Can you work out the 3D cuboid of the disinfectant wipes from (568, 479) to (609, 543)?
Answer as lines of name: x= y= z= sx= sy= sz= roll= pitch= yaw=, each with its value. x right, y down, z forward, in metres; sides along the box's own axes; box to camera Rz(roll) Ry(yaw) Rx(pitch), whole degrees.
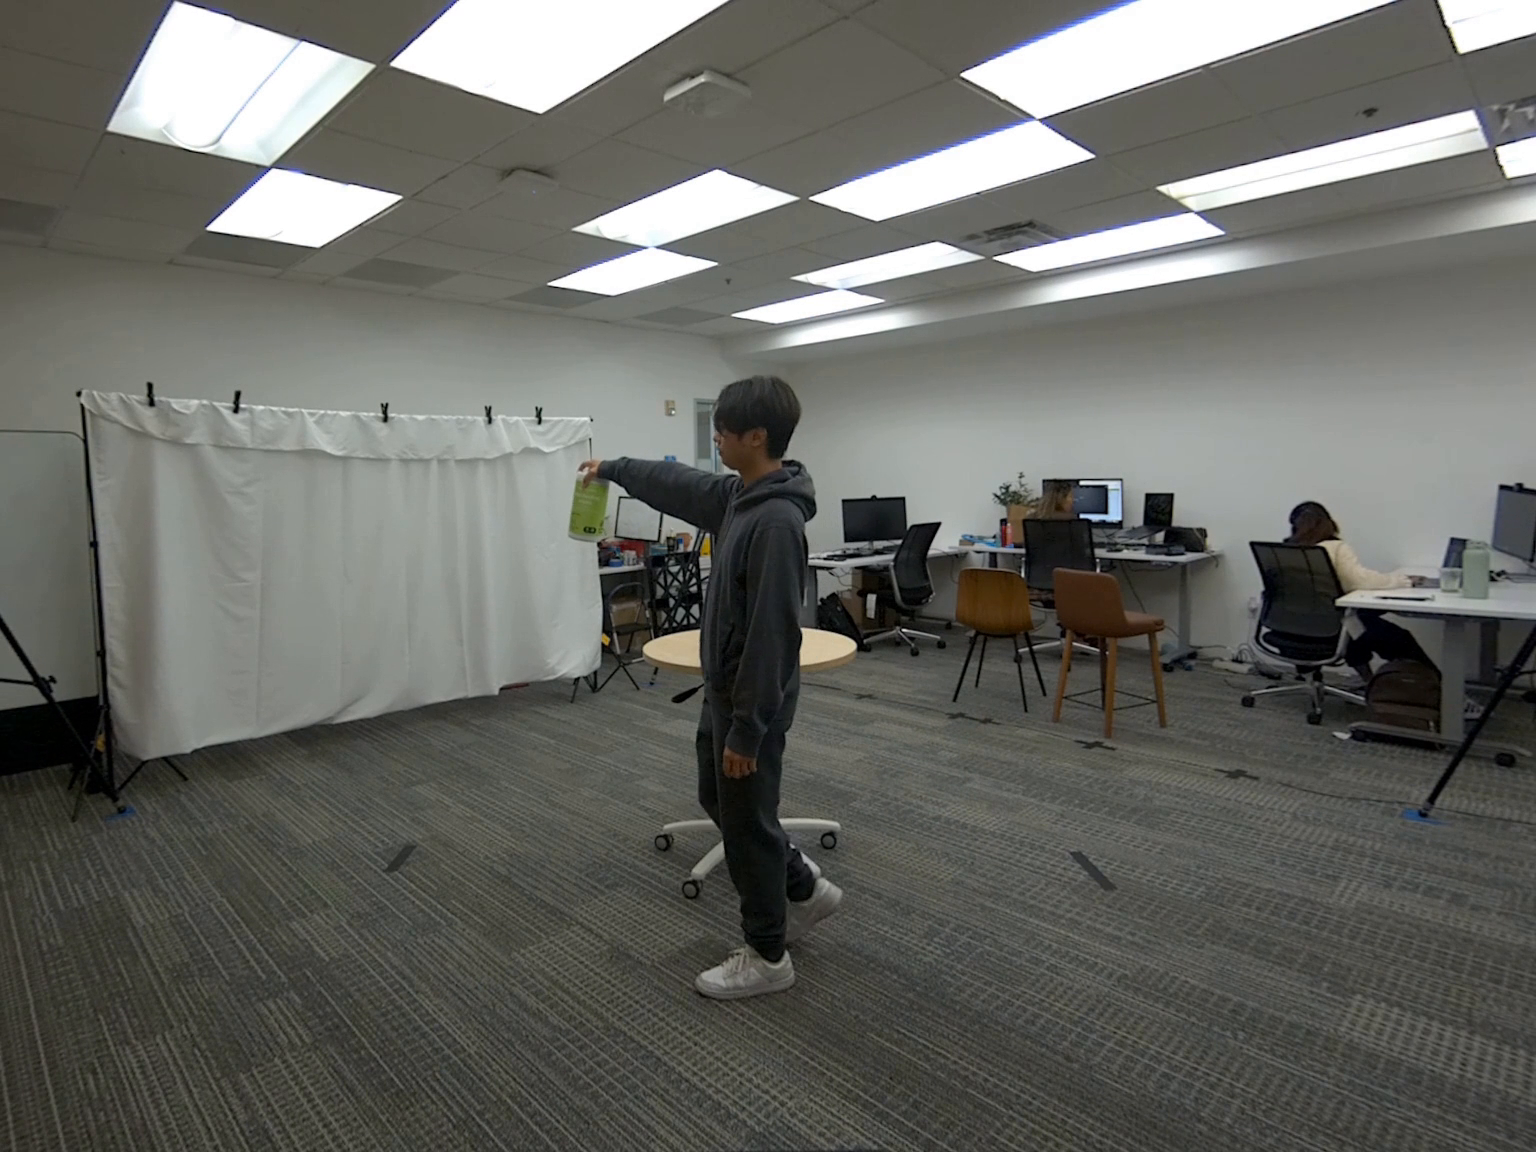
disinfectant wipes: x=-0.571 y=-0.224 z=2.741 sx=0.117 sy=0.216 sz=0.118 roll=9 pitch=6 yaw=-3
